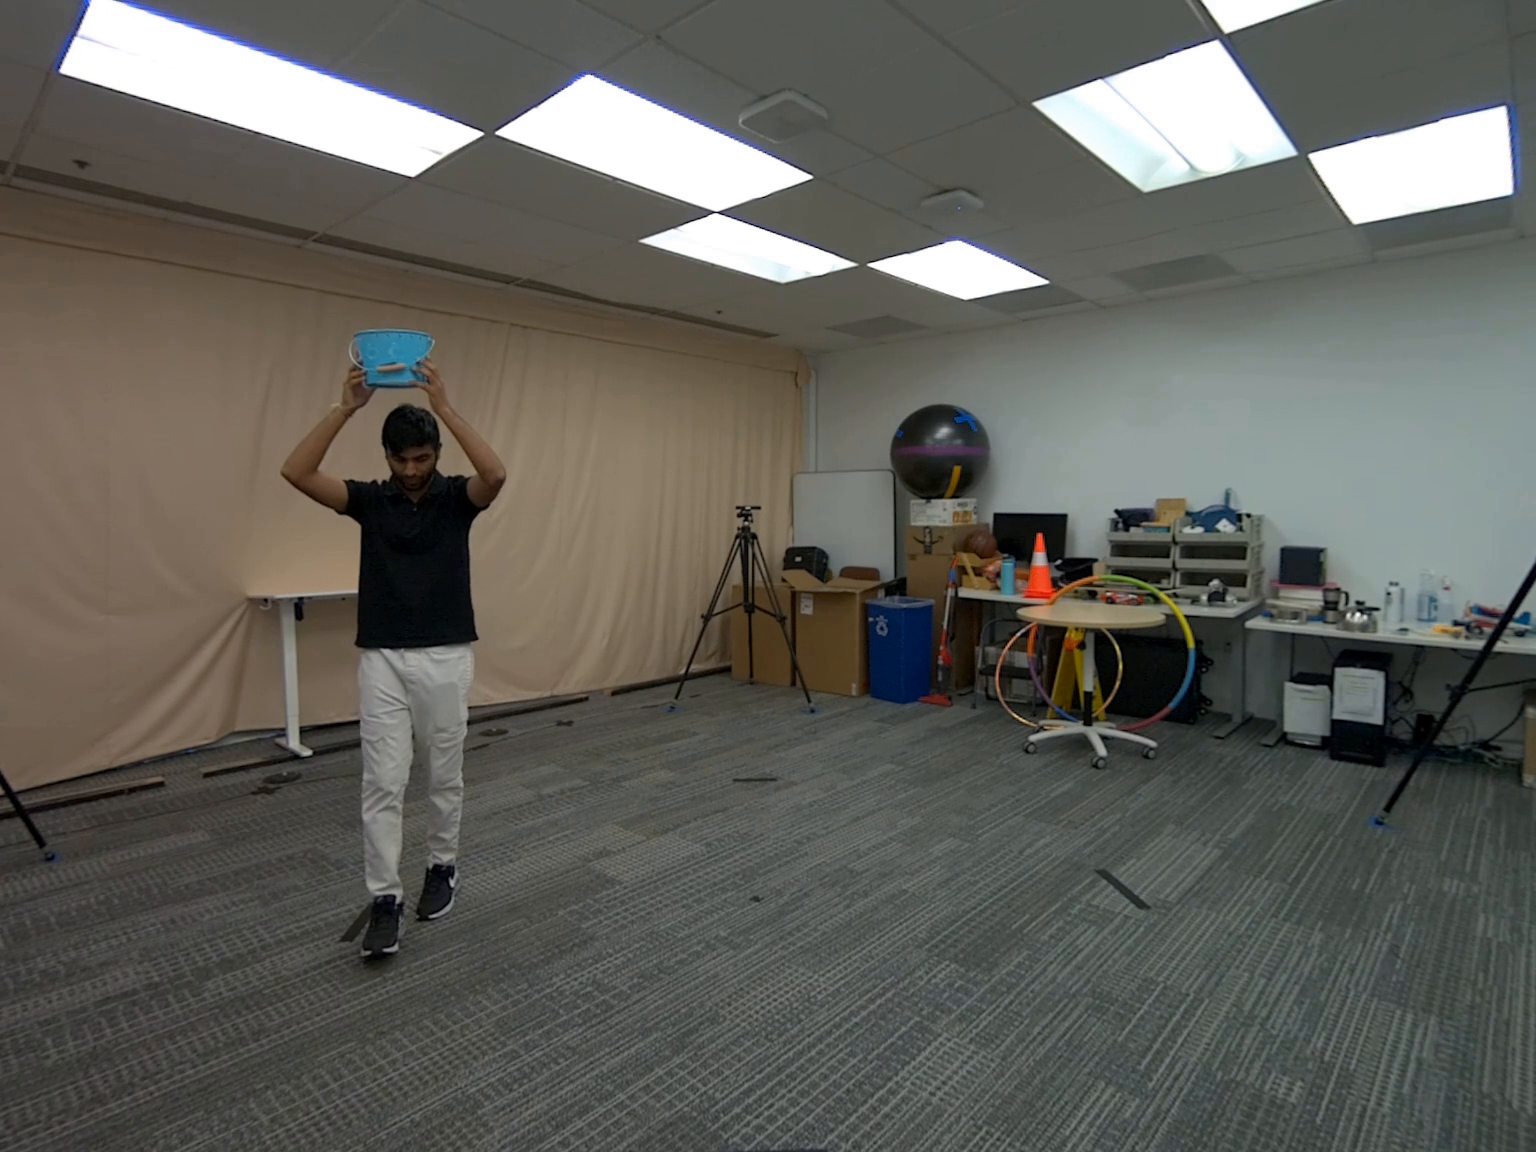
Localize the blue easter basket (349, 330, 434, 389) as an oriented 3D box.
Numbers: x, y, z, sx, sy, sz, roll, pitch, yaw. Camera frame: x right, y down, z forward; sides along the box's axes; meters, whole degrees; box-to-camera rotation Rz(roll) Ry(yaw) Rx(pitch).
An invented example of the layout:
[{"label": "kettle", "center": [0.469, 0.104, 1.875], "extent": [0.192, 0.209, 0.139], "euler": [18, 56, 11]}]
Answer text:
[{"label": "blue easter basket", "center": [-1.179, -0.678, 2.625], "extent": [0.243, 0.155, 0.245], "euler": [-3, 7, -1]}]
